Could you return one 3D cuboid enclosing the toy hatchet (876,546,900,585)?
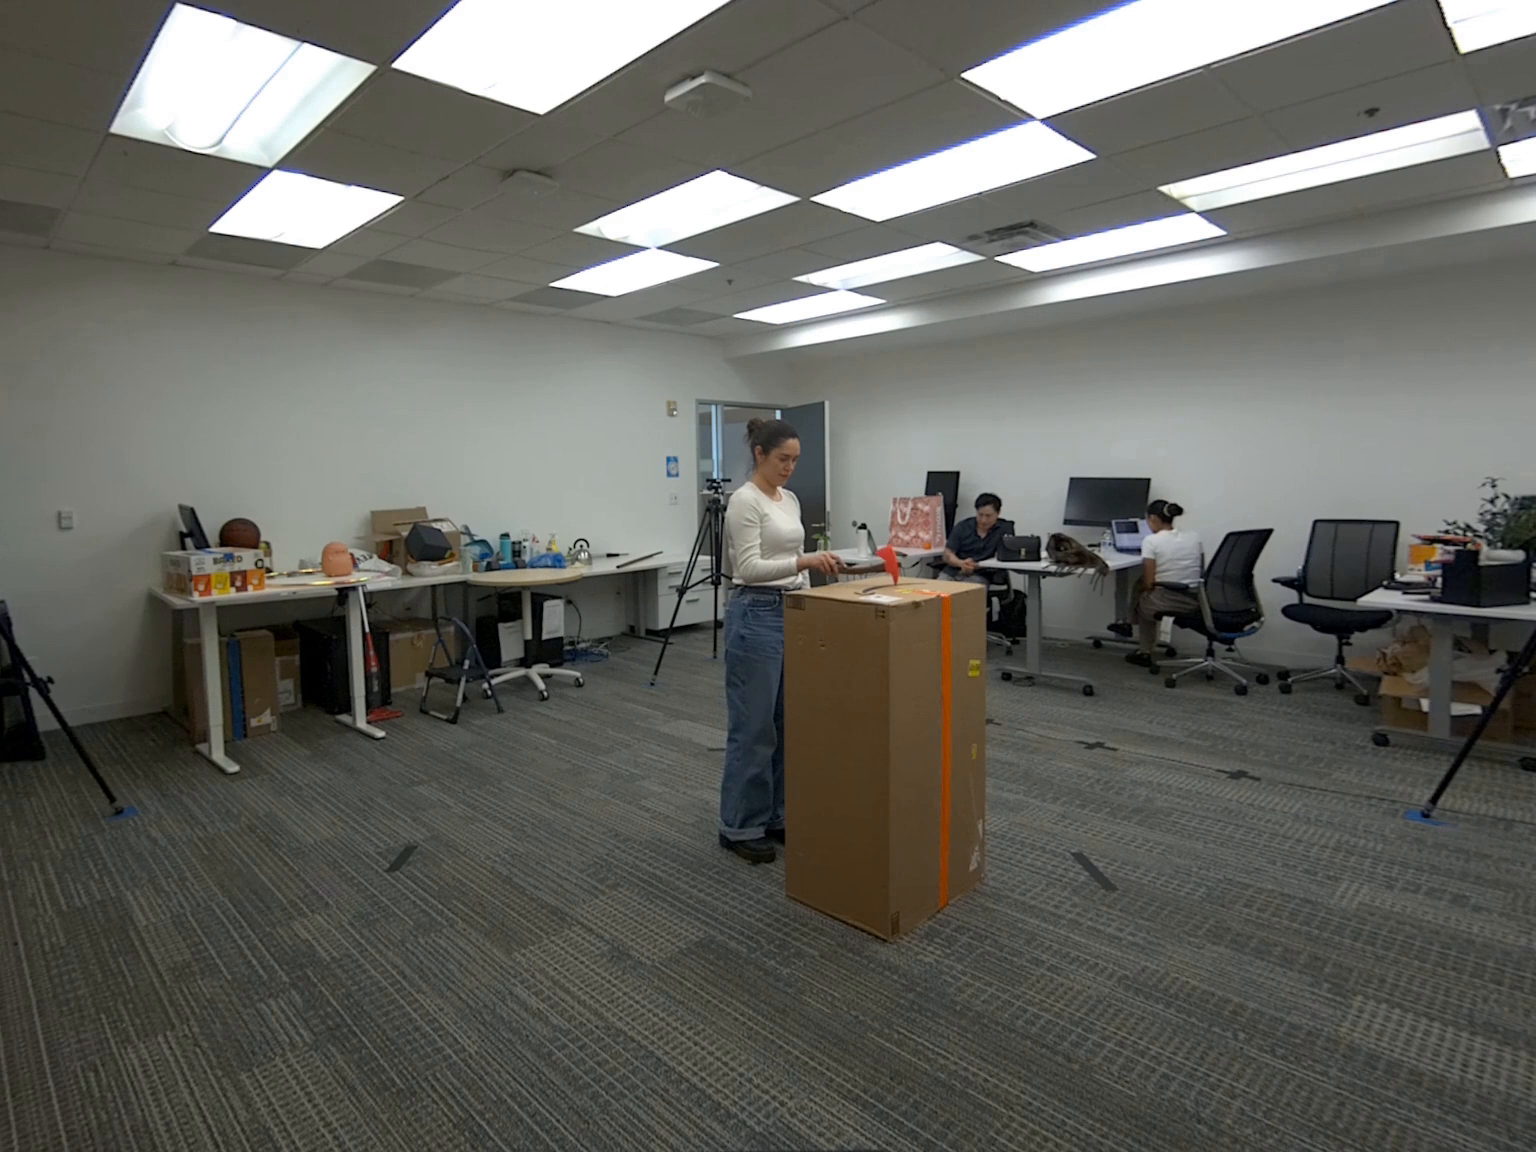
[{"bbox_3d":[0.331,-0.057,2.929,0.276,0.130,0.029,10,11,19],"label":"toy hatchet"}]
